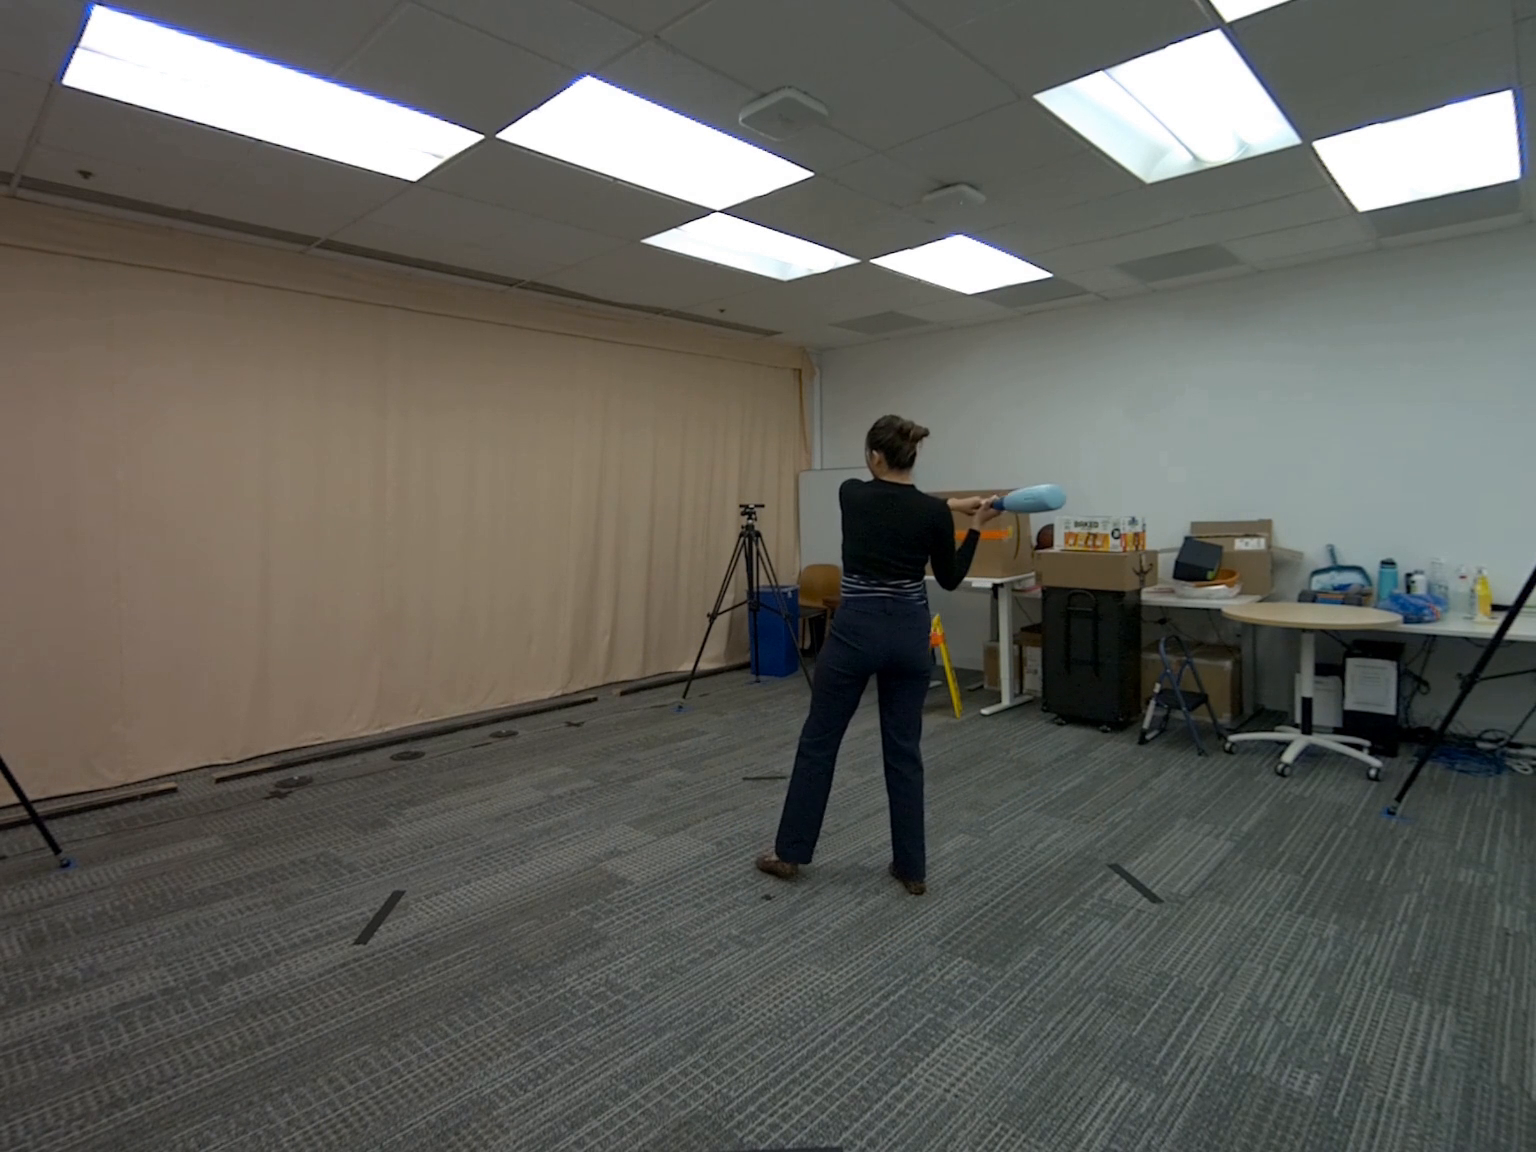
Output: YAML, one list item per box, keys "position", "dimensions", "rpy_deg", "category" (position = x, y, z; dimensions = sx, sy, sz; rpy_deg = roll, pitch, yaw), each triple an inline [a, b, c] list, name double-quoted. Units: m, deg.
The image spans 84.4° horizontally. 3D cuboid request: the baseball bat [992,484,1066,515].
- position: [0.845, -0.251, 2.992]
  dimensions: [0.088, 0.089, 0.551]
  rpy_deg: [-2, 1, -16]
  category: "baseball bat"
